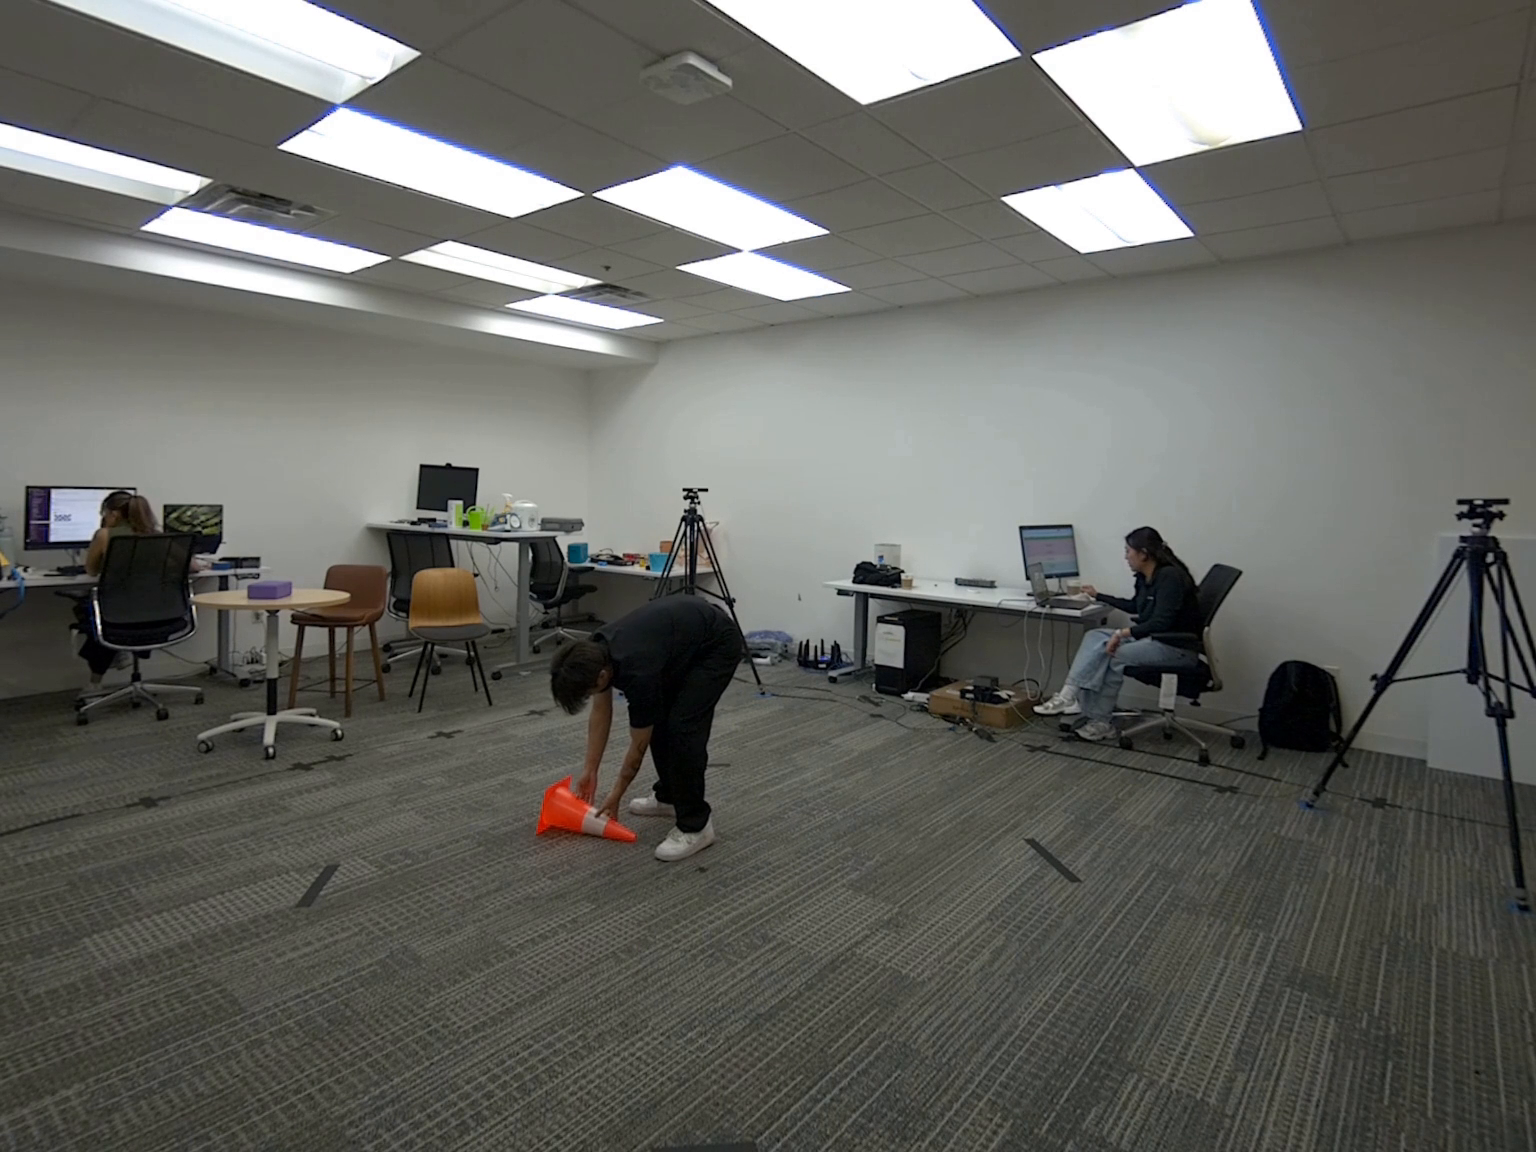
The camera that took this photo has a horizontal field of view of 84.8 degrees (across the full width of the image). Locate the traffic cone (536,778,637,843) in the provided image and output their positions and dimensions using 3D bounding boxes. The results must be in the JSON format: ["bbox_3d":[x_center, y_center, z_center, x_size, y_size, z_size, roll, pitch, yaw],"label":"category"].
[{"bbox_3d":[-0.709,0.988,3.405,0.393,0.203,0.200,17,12,20],"label":"traffic cone"}]
